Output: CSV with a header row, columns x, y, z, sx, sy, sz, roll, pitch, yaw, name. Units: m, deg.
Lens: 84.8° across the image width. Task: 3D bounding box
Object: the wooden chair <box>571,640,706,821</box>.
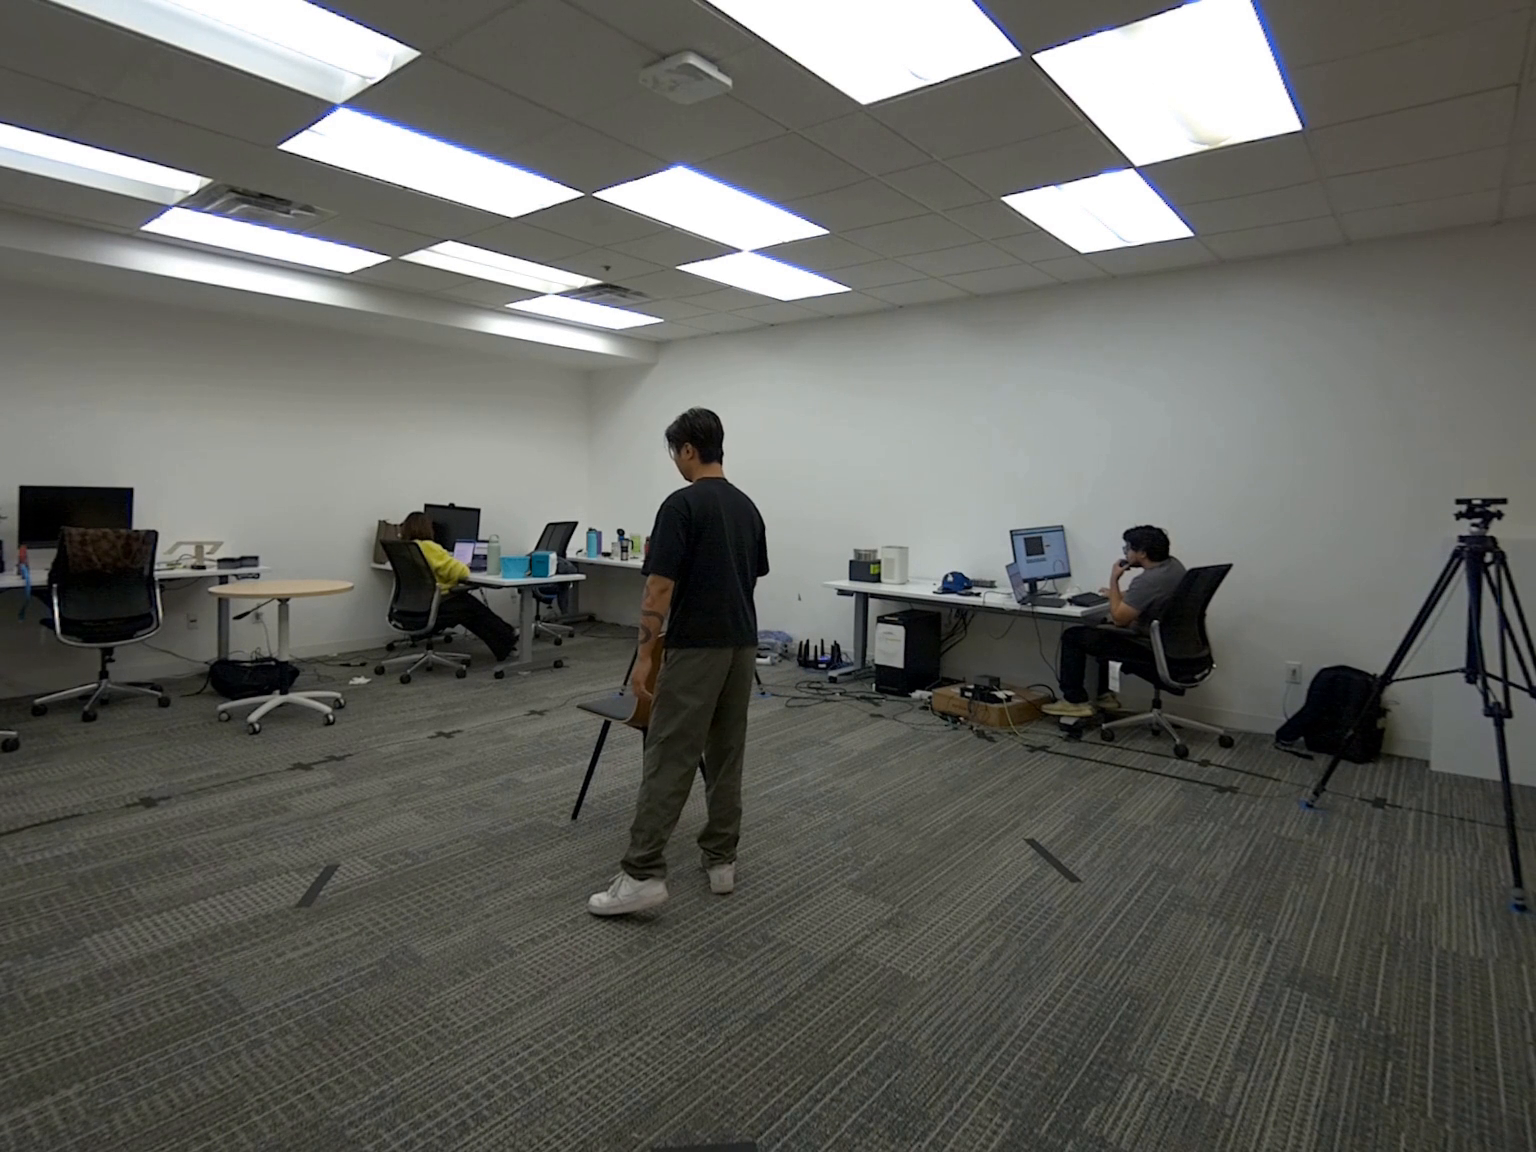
x,y,z,sx,sy,sz,roll,pitch,yaw,name
-0.512,0.592,3.550,0.542,0.873,0.464,10,8,40,wooden chair
